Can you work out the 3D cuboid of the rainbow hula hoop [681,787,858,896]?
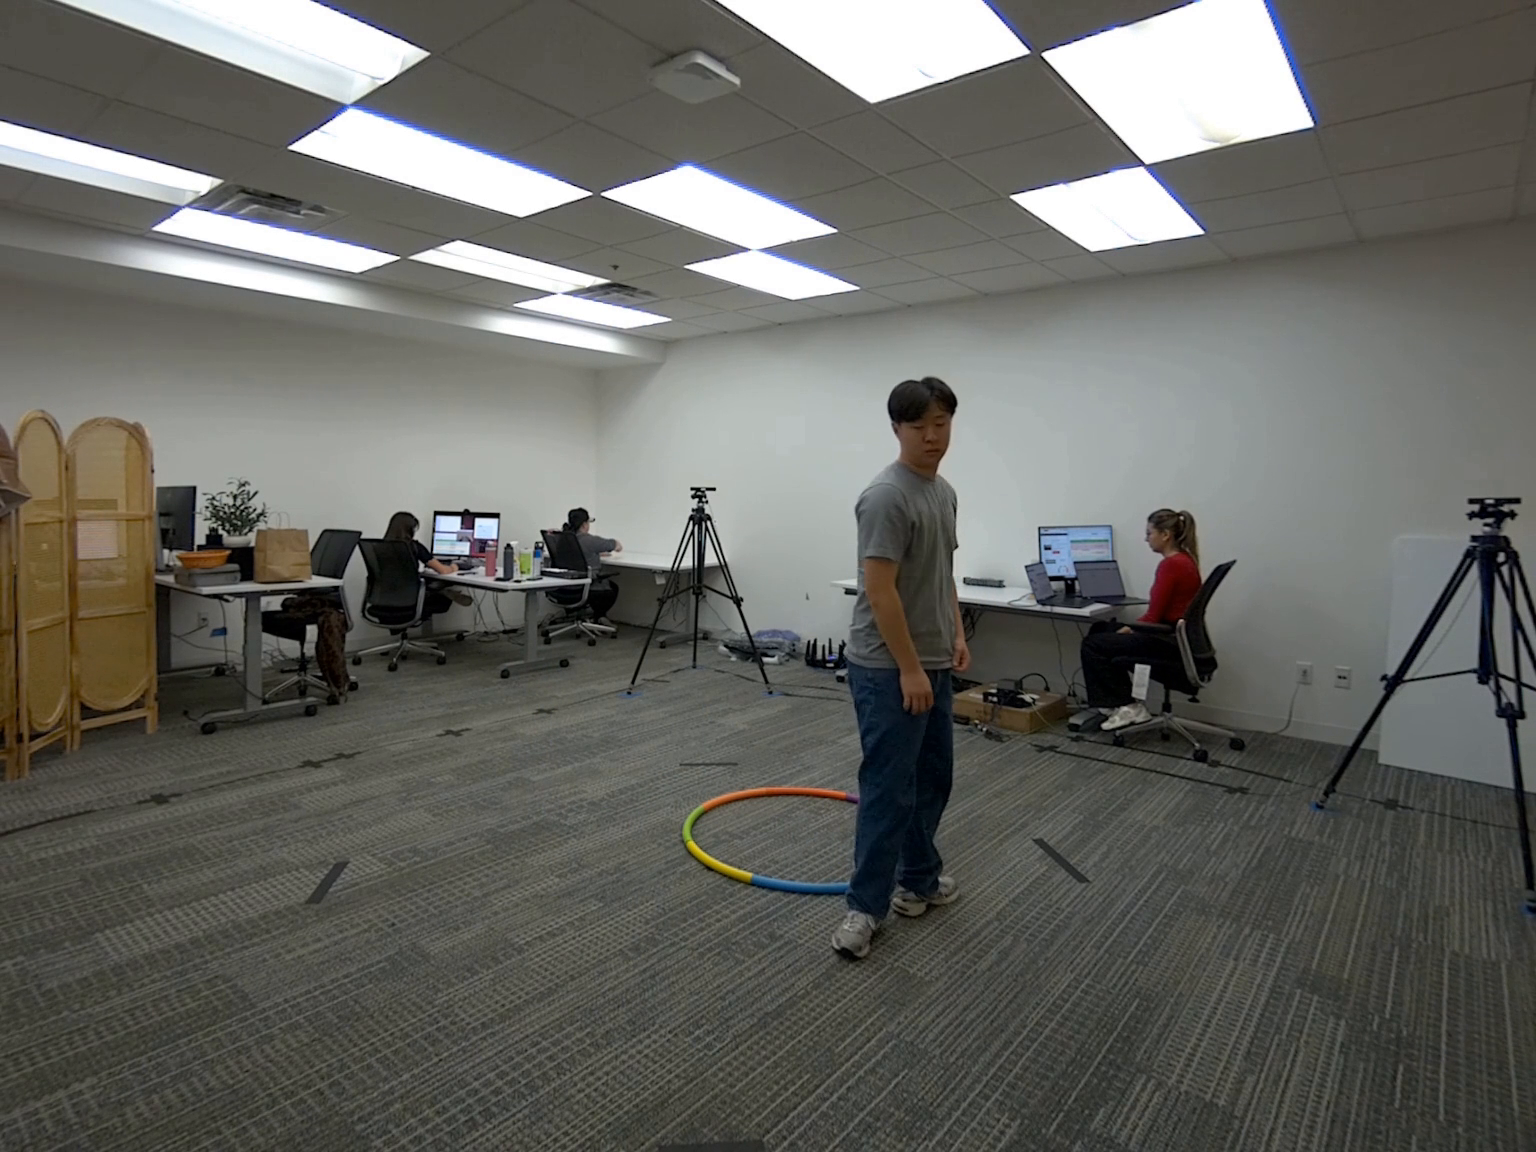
[{"bbox_3d":[0.136,1.017,3.401,0.978,0.035,0.984,1,6,-2],"label":"rainbow hula hoop"}]
